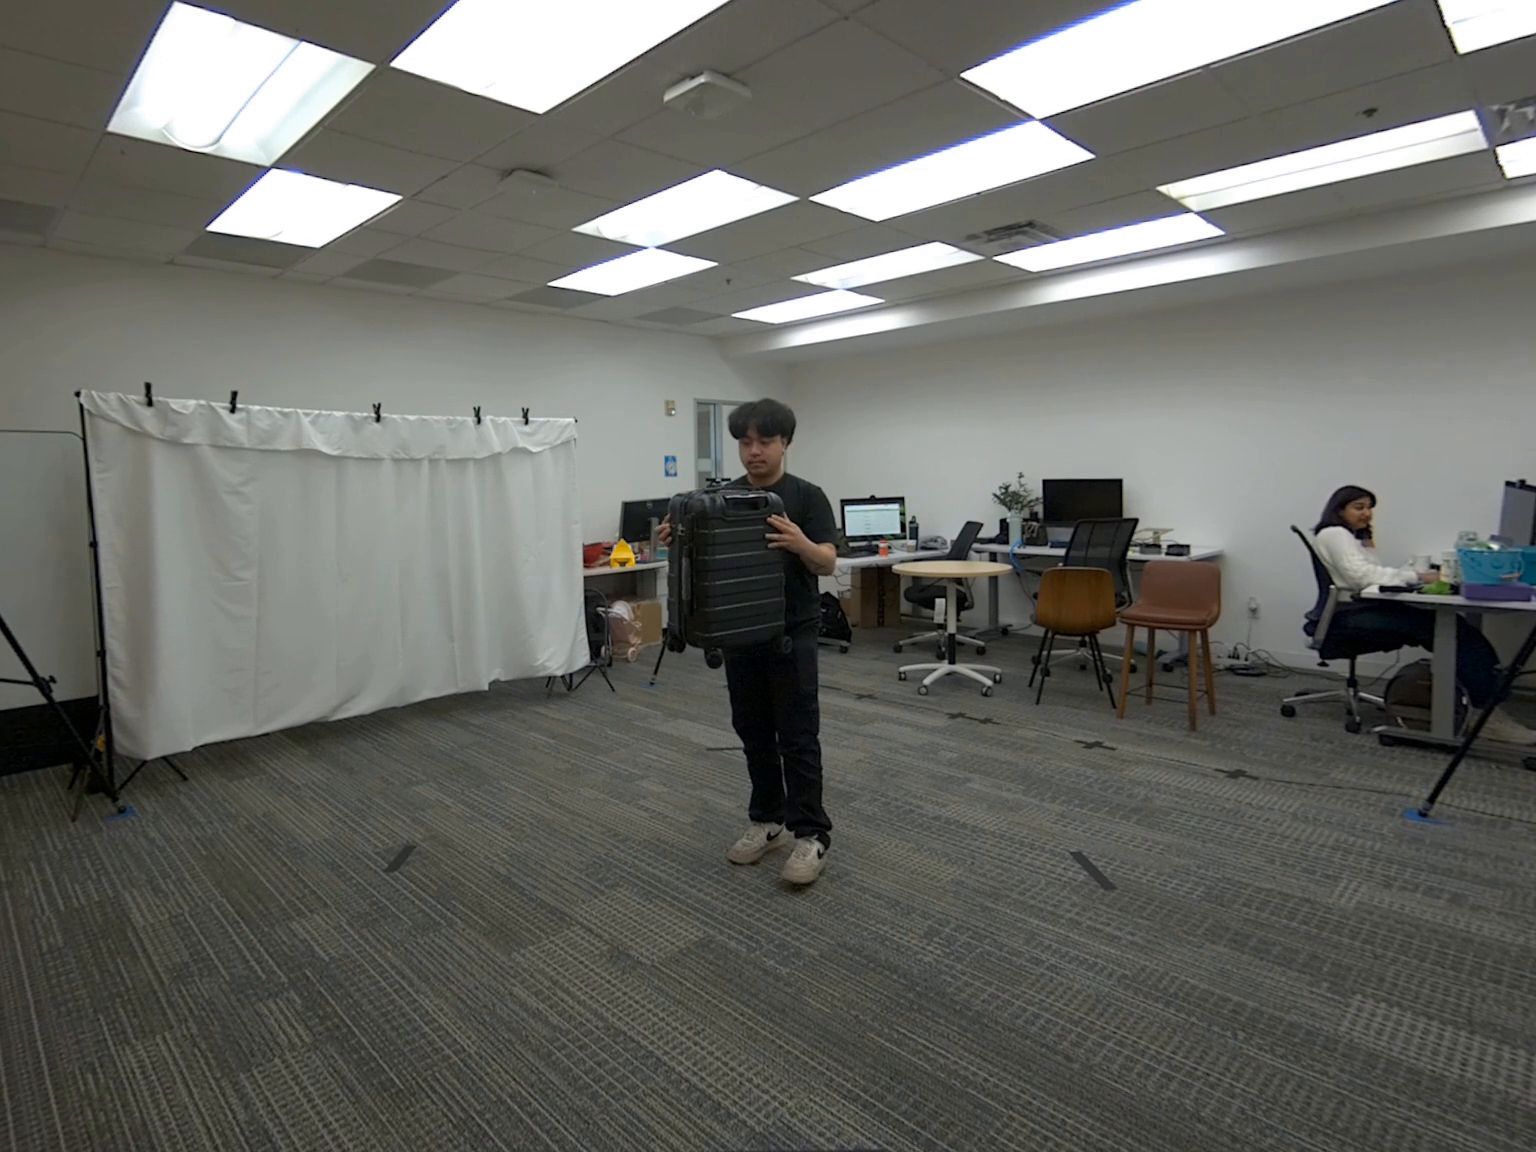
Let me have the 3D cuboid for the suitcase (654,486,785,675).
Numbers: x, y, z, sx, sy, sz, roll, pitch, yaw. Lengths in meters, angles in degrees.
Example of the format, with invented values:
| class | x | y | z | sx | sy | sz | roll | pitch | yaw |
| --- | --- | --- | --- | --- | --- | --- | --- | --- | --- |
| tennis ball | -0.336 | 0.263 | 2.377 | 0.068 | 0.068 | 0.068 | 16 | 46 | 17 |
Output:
| class | x | y | z | sx | sy | sz | roll | pitch | yaw |
| --- | --- | --- | --- | --- | --- | --- | --- | --- | --- |
| suitcase | -0.137 | -0.017 | 2.785 | 0.366 | 0.545 | 0.256 | -8 | 10 | -38 |
